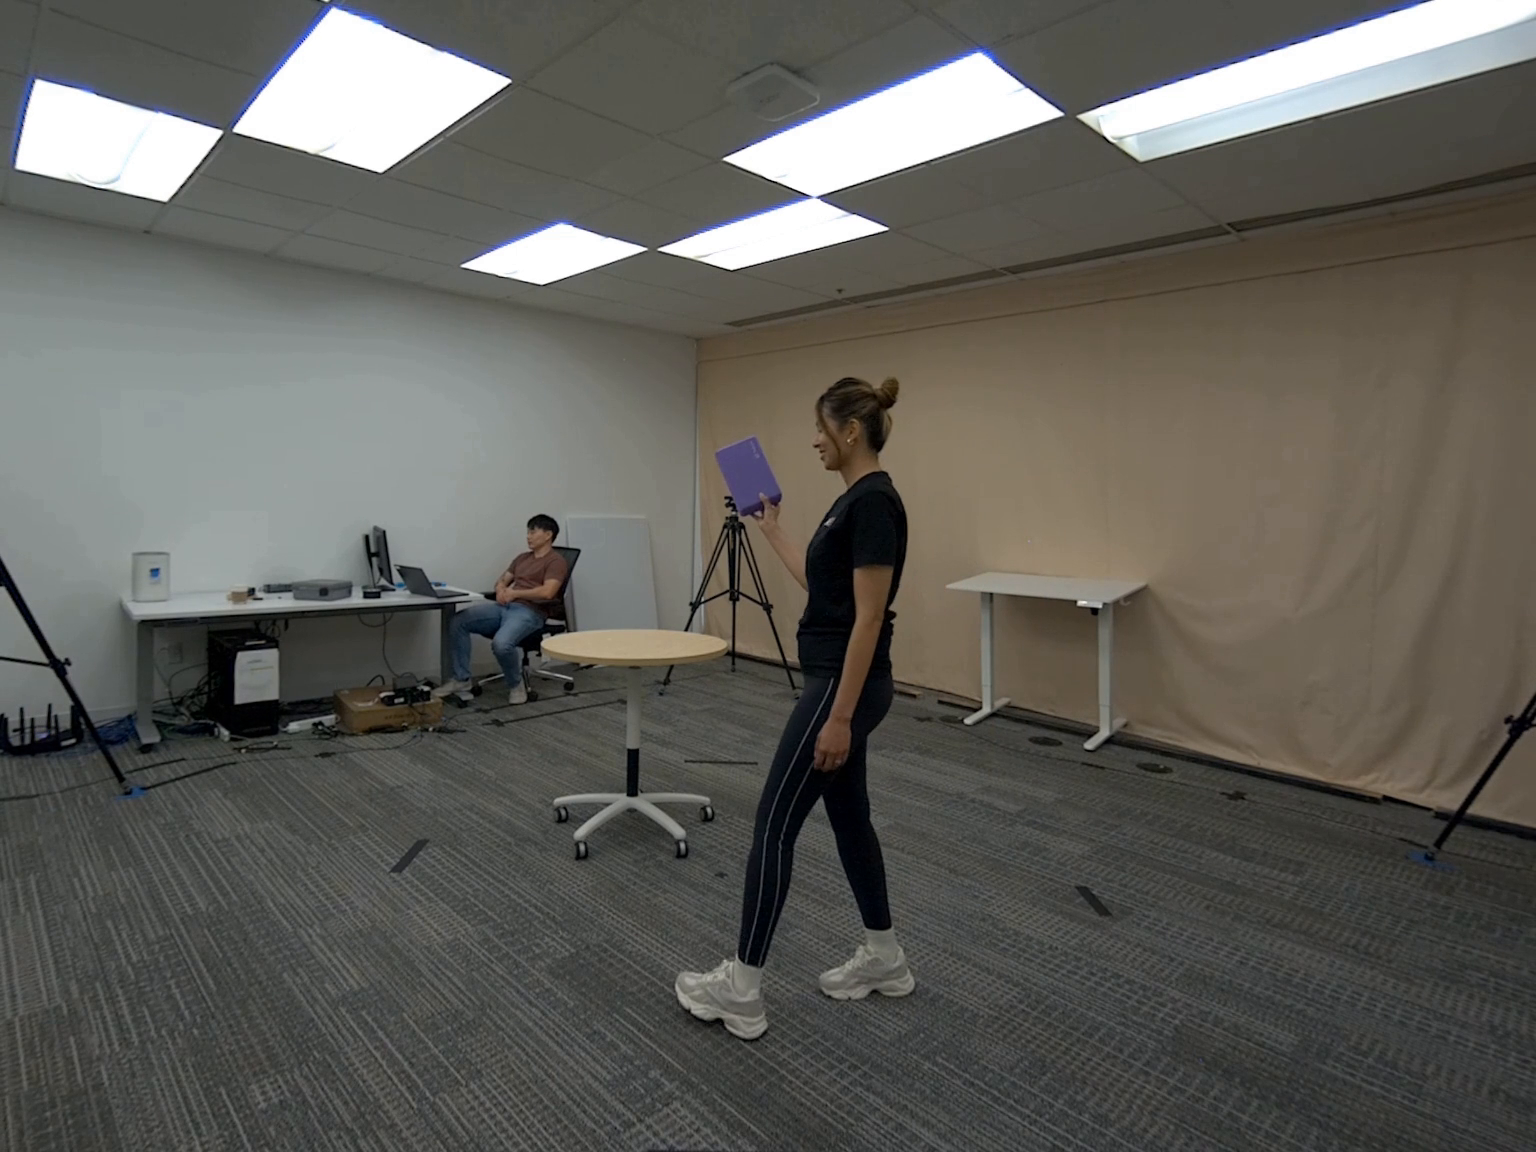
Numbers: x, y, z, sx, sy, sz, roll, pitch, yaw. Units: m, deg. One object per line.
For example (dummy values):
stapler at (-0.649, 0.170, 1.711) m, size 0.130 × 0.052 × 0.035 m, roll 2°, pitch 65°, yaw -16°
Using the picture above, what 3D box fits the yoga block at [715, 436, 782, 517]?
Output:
yoga block at (-0.065, -0.332, 2.759) m, size 0.149 × 0.233 × 0.075 m, roll -22°, pitch -15°, yaw -2°
